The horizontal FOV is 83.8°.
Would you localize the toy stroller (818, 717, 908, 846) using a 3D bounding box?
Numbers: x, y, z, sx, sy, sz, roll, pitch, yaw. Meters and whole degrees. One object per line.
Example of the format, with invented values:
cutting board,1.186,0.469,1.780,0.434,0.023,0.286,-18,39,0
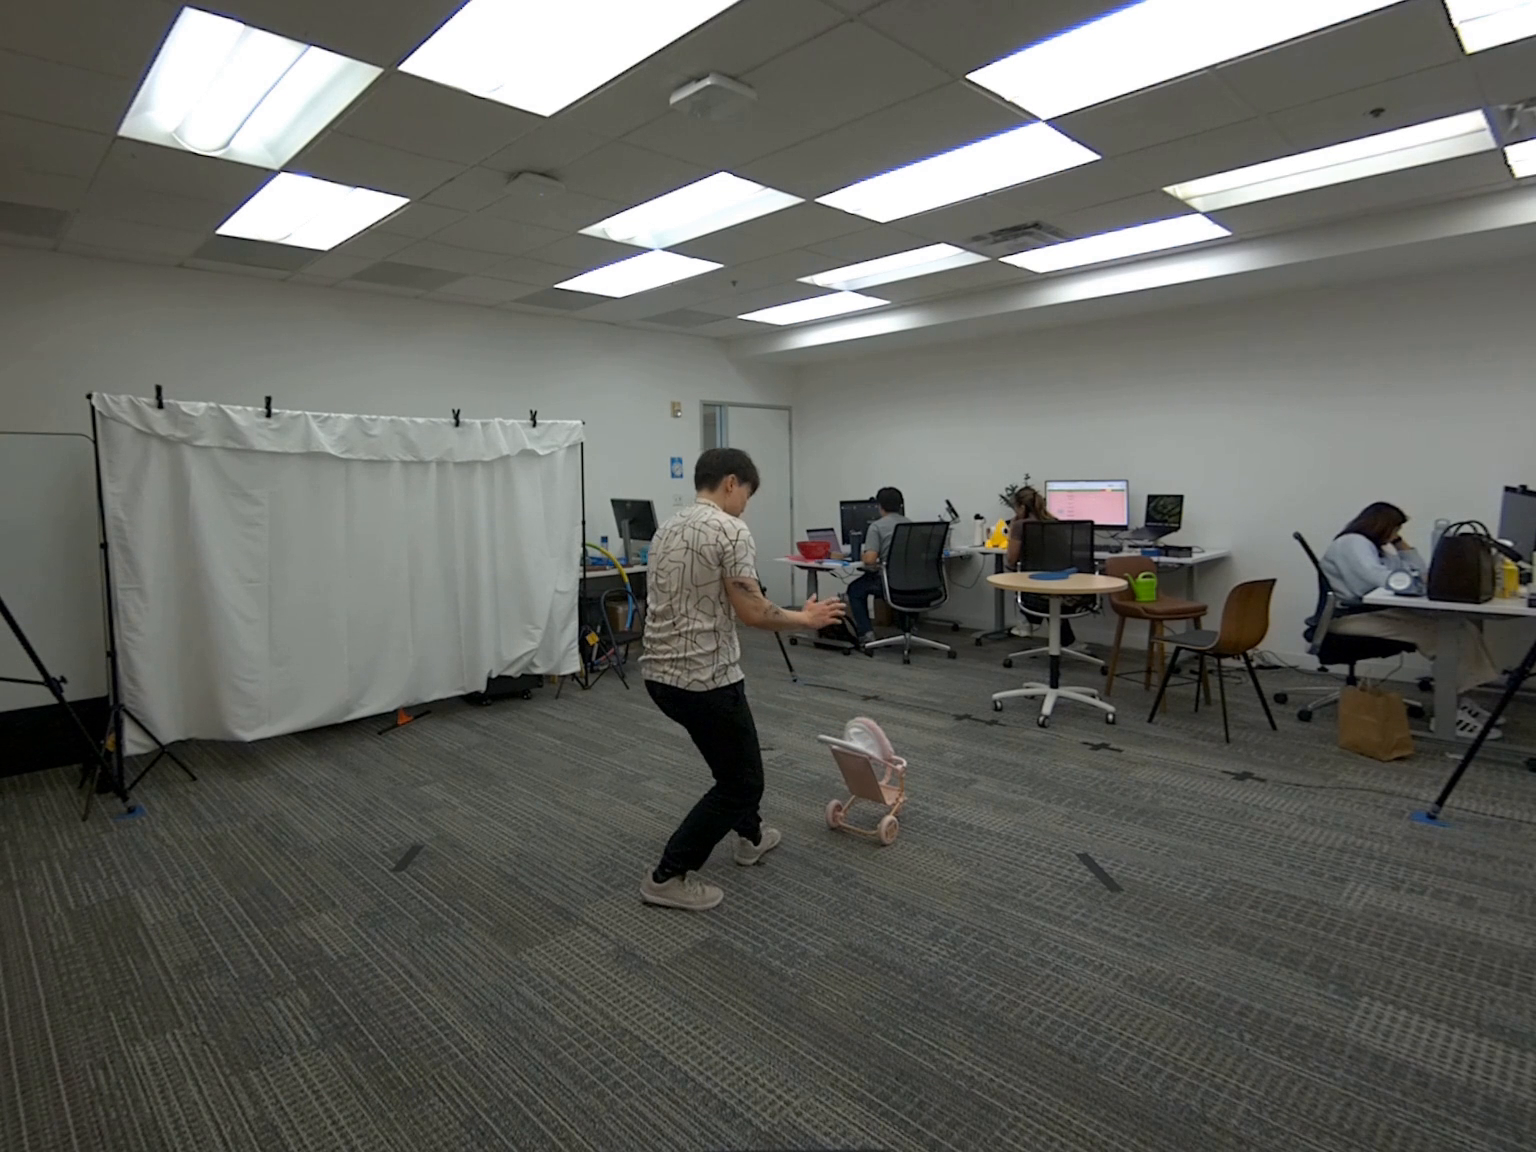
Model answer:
toy stroller,0.399,0.787,3.369,0.290,0.525,0.337,4,24,46
